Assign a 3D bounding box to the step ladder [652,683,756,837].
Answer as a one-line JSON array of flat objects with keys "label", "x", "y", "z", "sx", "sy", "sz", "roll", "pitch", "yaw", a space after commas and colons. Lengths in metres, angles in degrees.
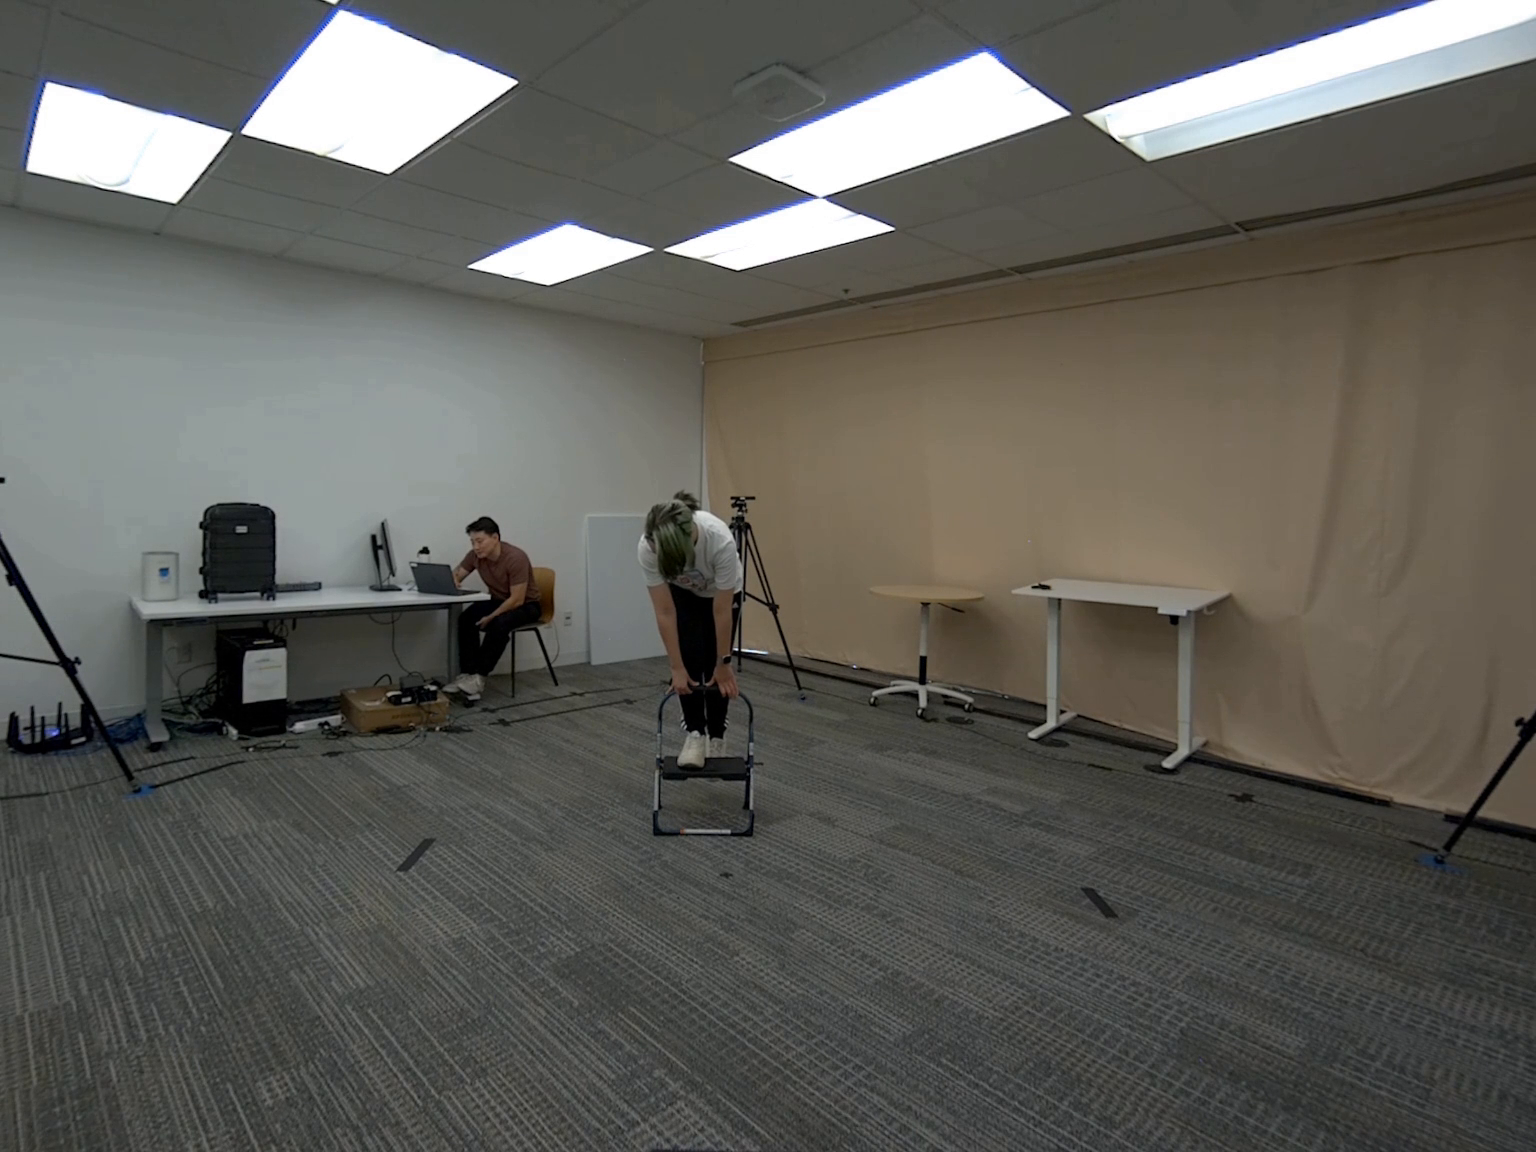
[{"label": "step ladder", "x": -0.280, "y": 0.760, "z": 3.615, "sx": 0.429, "sy": 0.605, "sz": 0.351, "roll": 2, "pitch": 3, "yaw": -4}]
